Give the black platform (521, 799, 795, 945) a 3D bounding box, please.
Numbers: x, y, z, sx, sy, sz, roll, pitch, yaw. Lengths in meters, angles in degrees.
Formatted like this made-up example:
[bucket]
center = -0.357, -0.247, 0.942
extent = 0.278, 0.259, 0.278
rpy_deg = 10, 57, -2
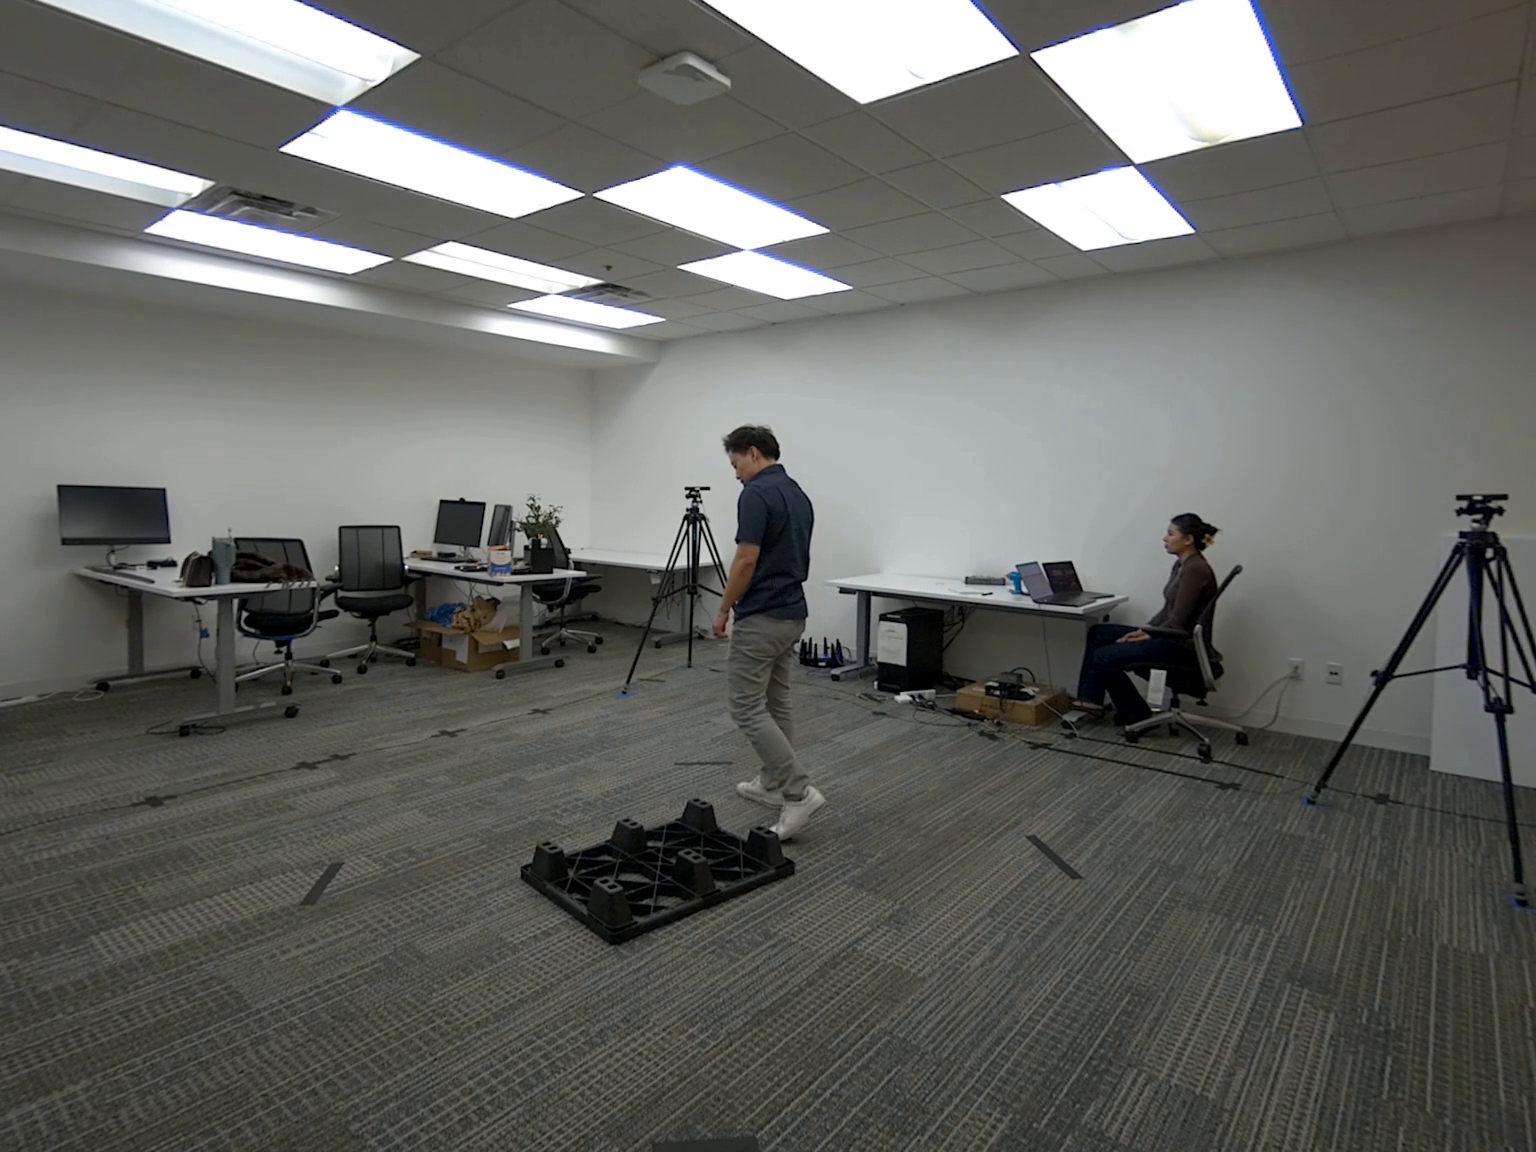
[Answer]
[black platform]
center = -0.398, 1.002, 3.047
extent = 0.781, 0.143, 0.626
rpy_deg = -4, 8, -43
